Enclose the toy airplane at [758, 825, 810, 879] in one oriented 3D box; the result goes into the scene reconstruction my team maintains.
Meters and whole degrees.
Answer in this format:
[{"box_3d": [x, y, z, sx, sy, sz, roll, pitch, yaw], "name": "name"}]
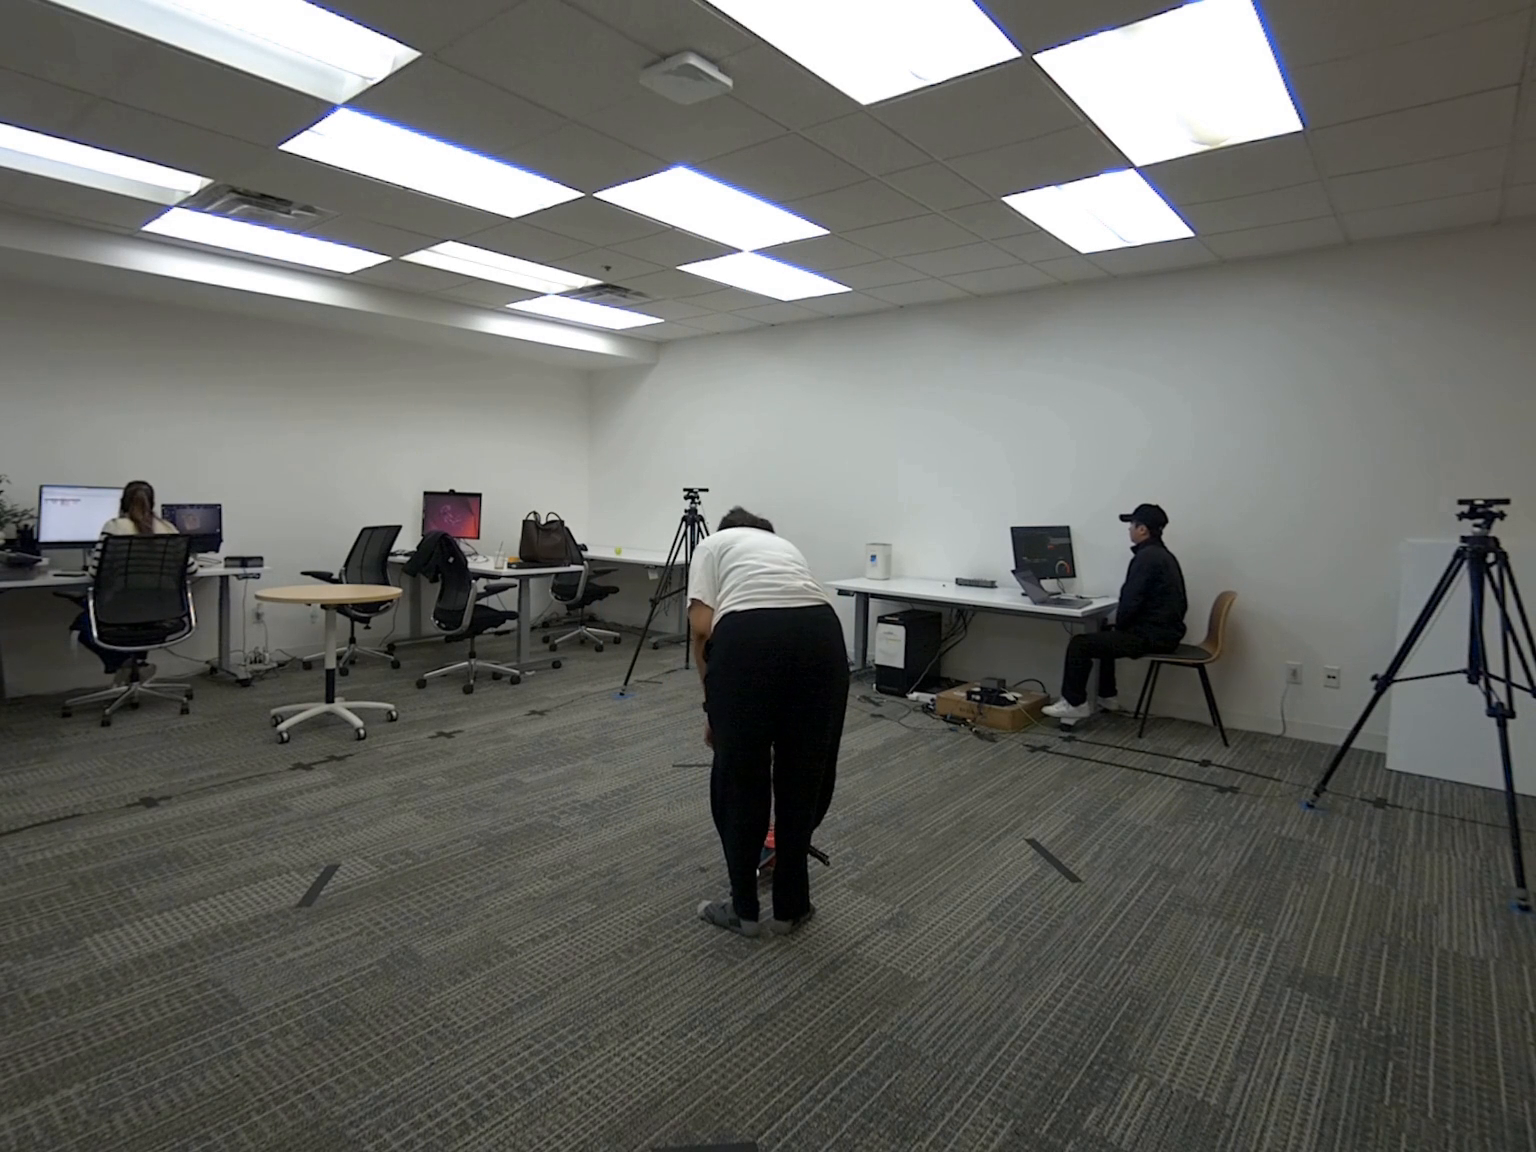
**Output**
[{"box_3d": [-0.014, 0.999, 3.049, 0.253, 0.156, 0.258, 3, 4, 7], "name": "toy airplane"}]
